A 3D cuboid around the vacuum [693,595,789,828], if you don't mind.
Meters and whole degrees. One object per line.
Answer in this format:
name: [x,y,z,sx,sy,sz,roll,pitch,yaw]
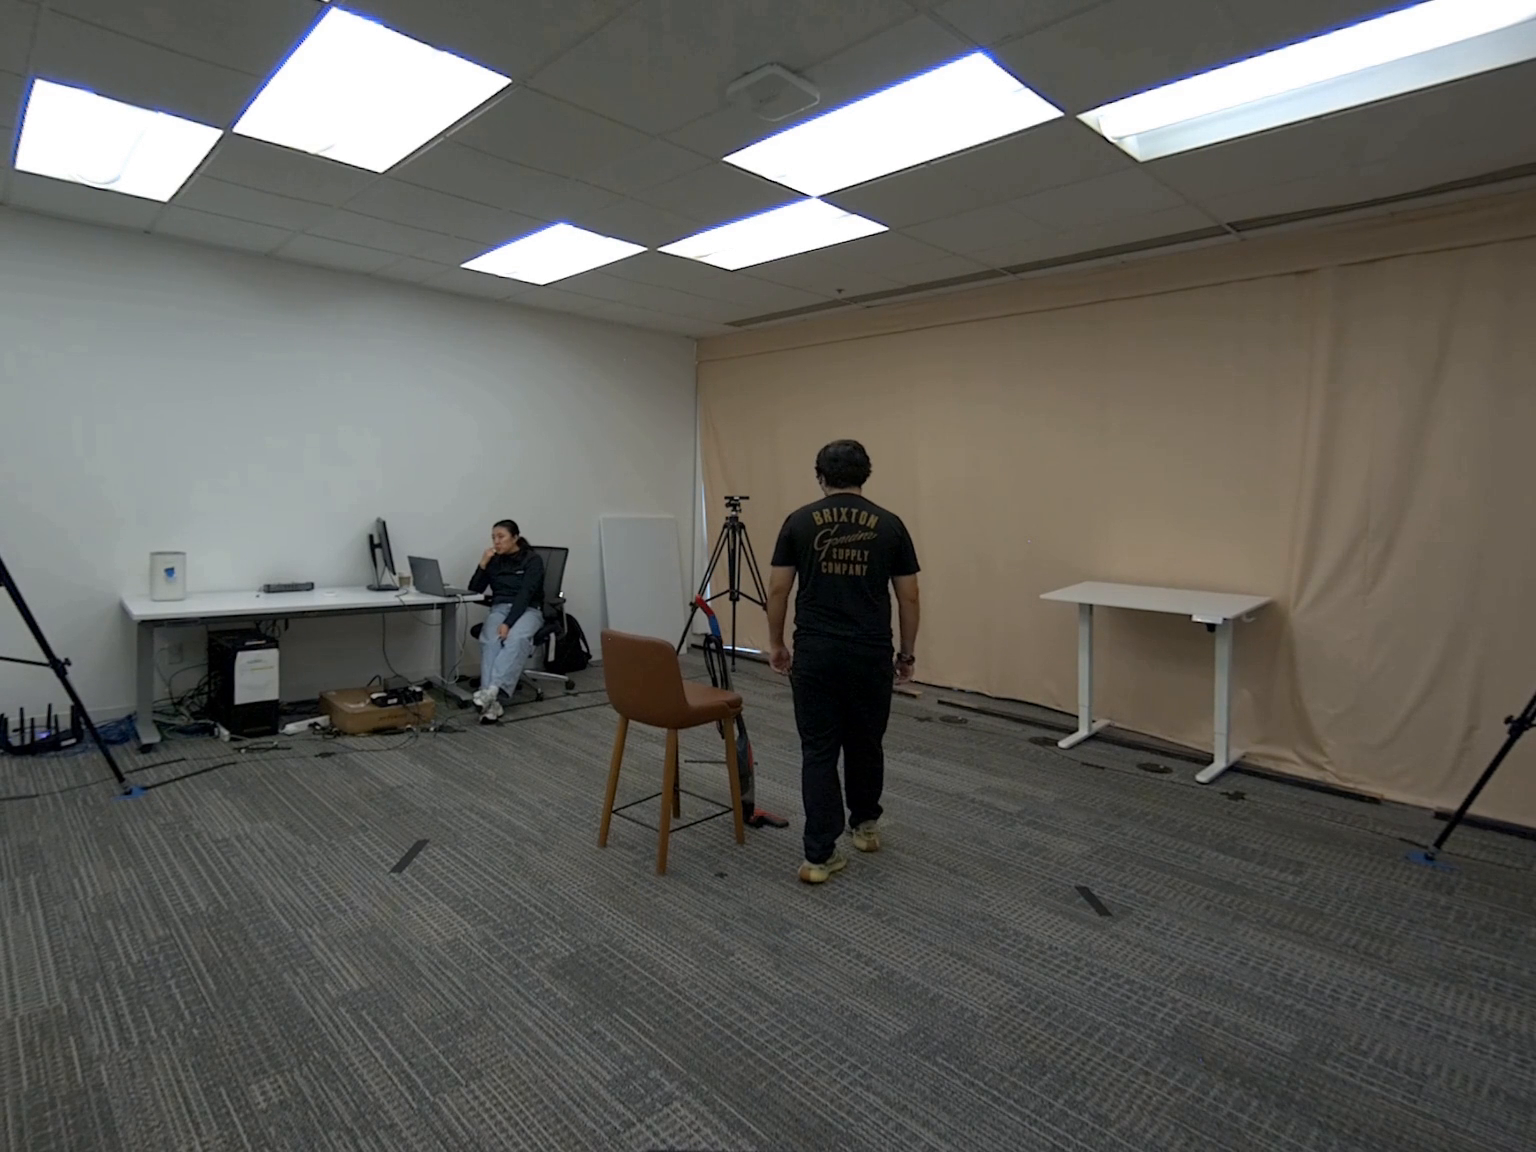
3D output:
vacuum: [-0.162,0.576,3.510,0.142,1.034,0.259,-26,21,-37]
